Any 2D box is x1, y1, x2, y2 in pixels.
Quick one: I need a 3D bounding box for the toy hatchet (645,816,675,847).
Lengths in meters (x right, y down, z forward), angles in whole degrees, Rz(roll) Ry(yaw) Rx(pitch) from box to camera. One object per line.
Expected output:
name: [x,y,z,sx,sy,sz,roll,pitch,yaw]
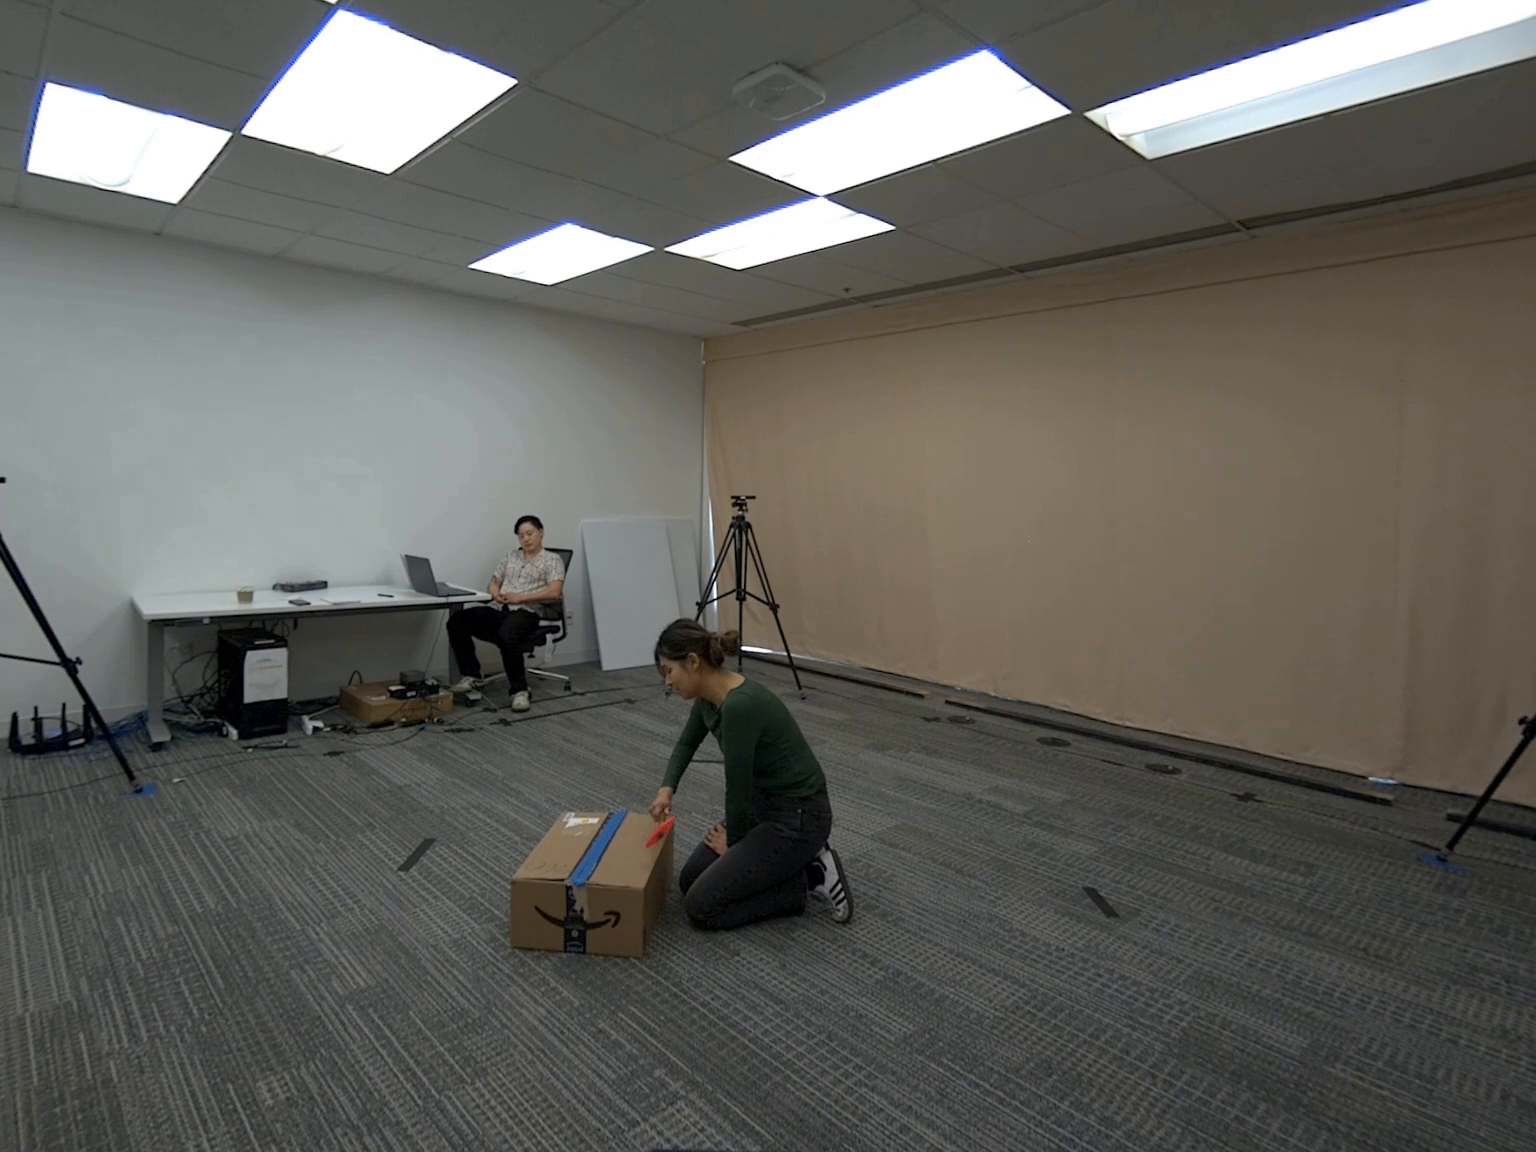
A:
toy hatchet: [-0.393,0.827,2.792,0.029,0.131,0.271,39,-16,-7]
